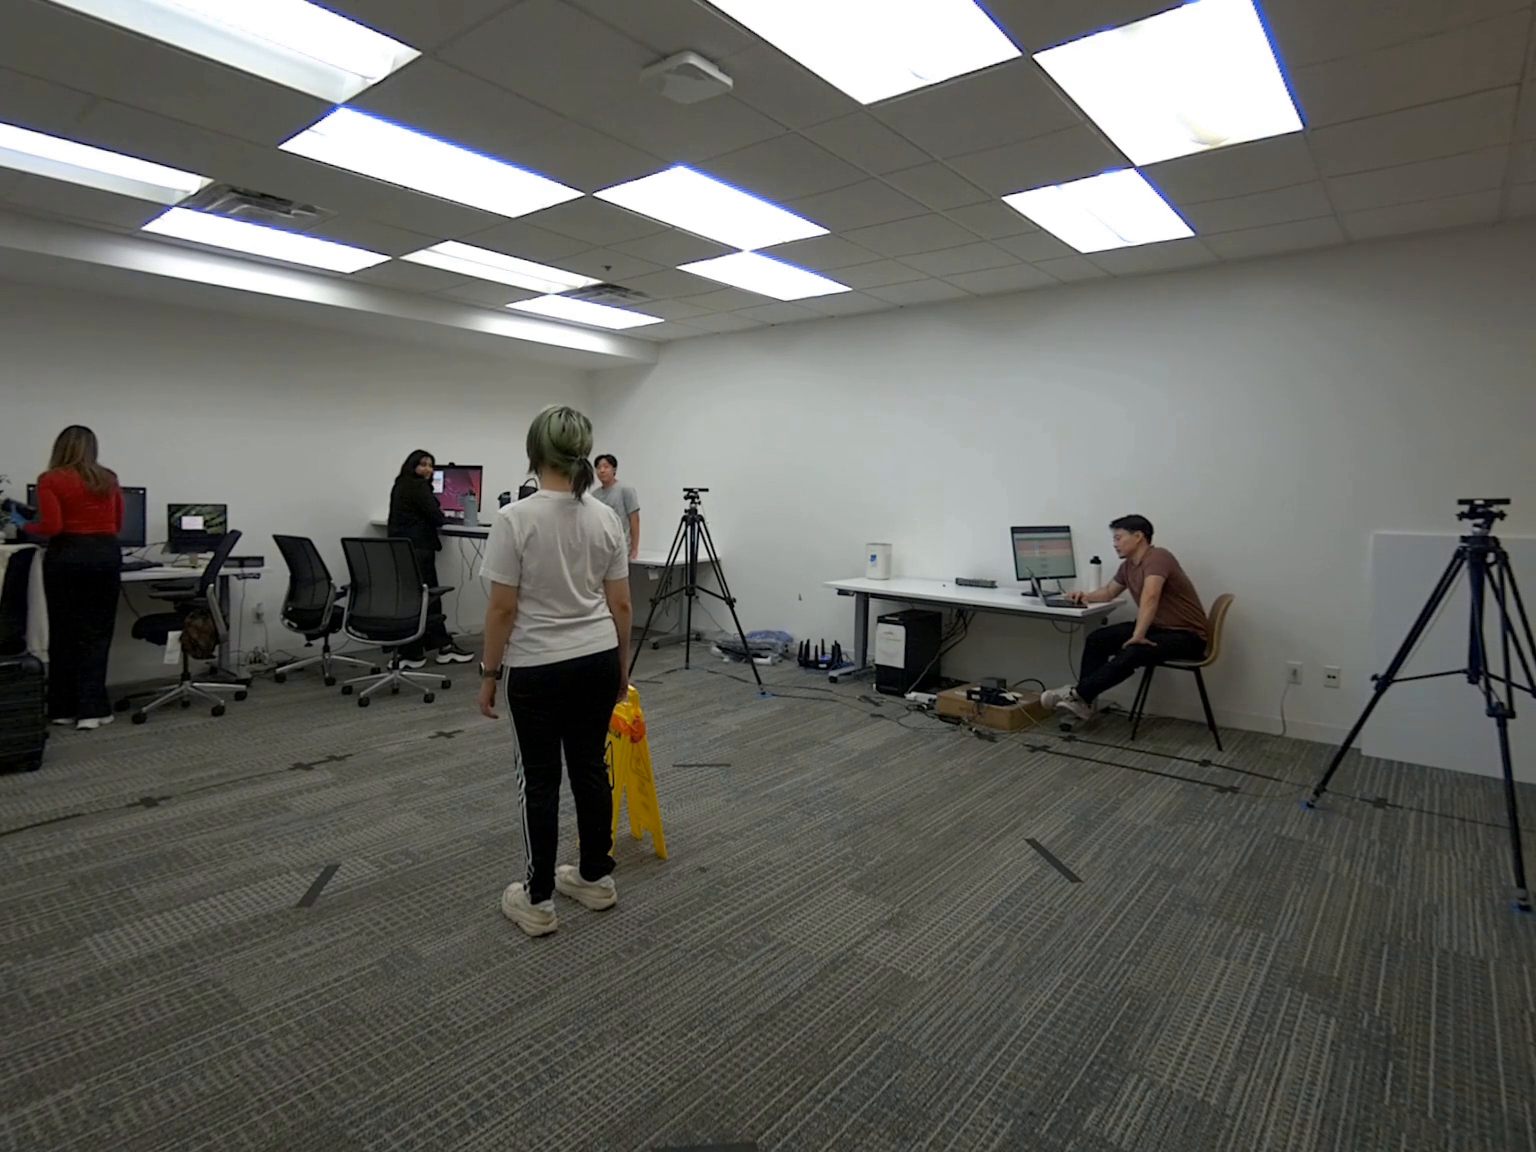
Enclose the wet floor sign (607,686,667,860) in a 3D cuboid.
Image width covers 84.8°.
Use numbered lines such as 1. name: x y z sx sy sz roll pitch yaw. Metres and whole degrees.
1. wet floor sign: -0.566 0.724 3.224 0.281 0.645 0.291 -1 2 -34
